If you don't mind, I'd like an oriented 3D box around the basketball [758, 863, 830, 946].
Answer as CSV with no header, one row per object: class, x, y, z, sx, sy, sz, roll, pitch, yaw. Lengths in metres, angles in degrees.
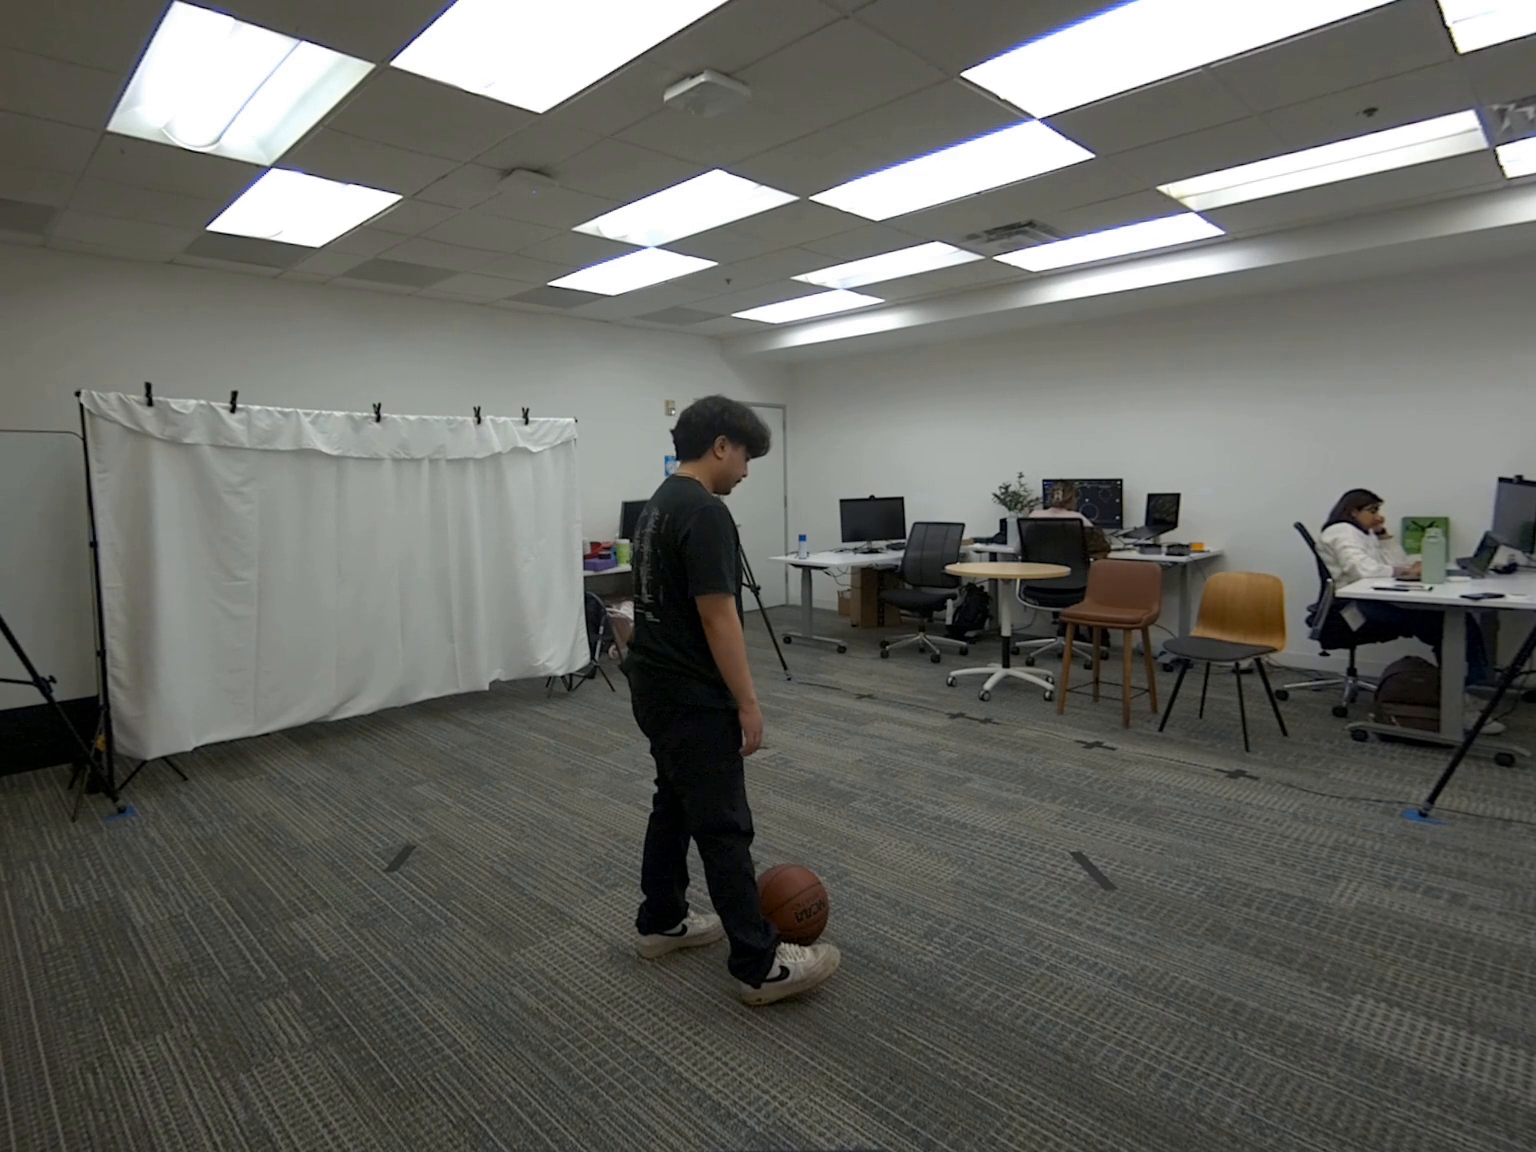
basketball,0.060,0.981,2.557,0.236,0.235,0.237,-1,5,-2
